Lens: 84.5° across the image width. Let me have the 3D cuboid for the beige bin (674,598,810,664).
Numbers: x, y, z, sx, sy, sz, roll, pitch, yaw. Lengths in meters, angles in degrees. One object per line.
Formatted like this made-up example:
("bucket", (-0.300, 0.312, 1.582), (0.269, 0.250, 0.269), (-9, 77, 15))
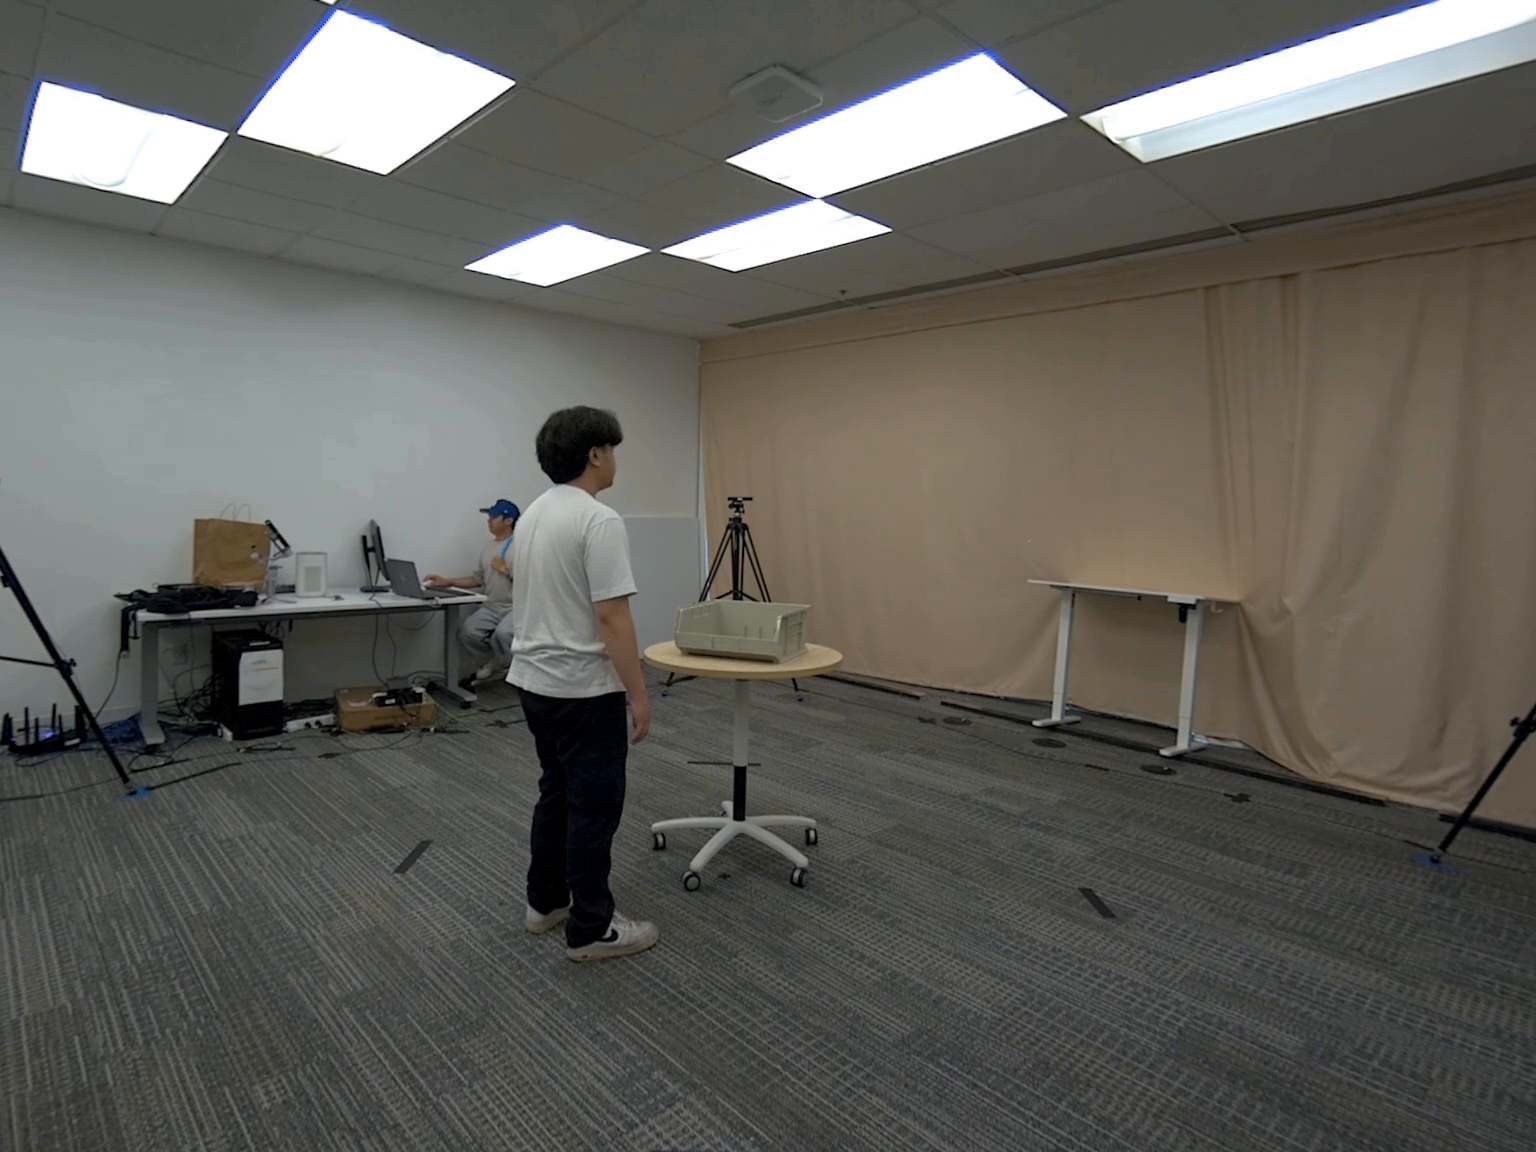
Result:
("beige bin", (-0.096, 0.210, 3.247), (0.430, 0.189, 0.371), (2, 3, 22))
